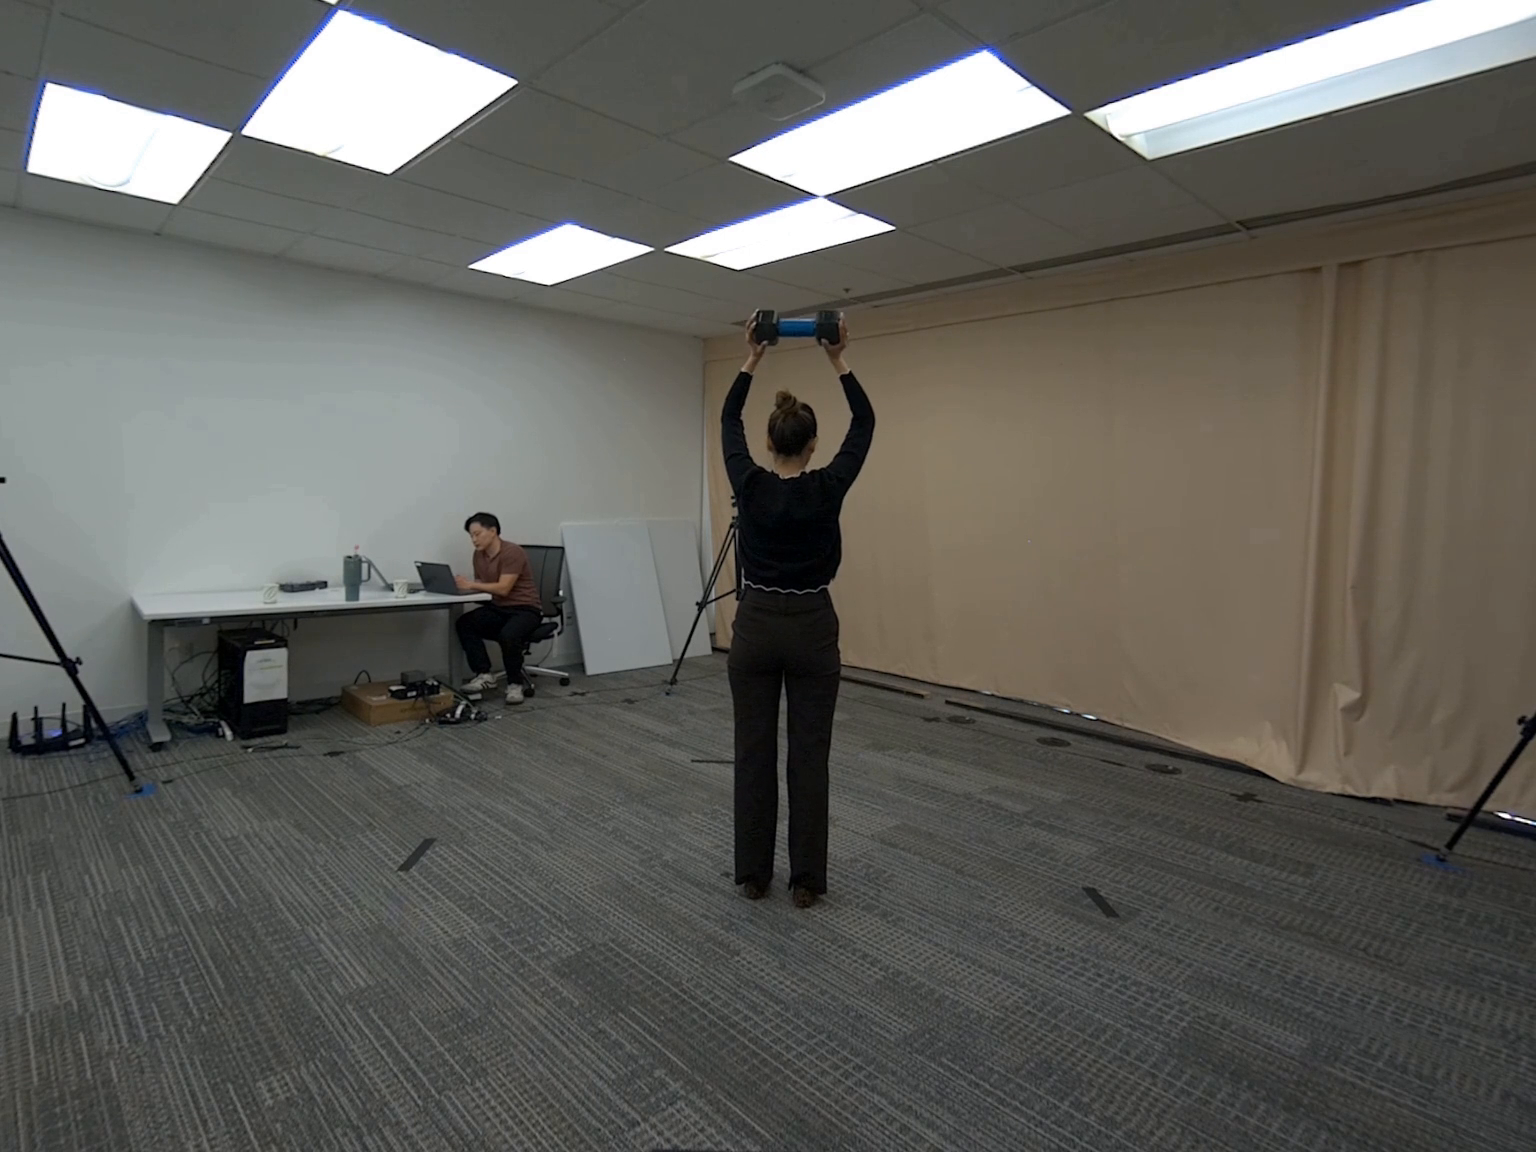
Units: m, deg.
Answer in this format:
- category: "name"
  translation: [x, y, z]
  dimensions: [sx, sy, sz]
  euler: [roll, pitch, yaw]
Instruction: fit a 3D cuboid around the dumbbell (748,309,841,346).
- category: "dumbbell"
  translation: [0.104, -0.841, 2.851]
  dimensions: [0.296, 0.109, 0.122]
  euler: [3, 0, 8]
